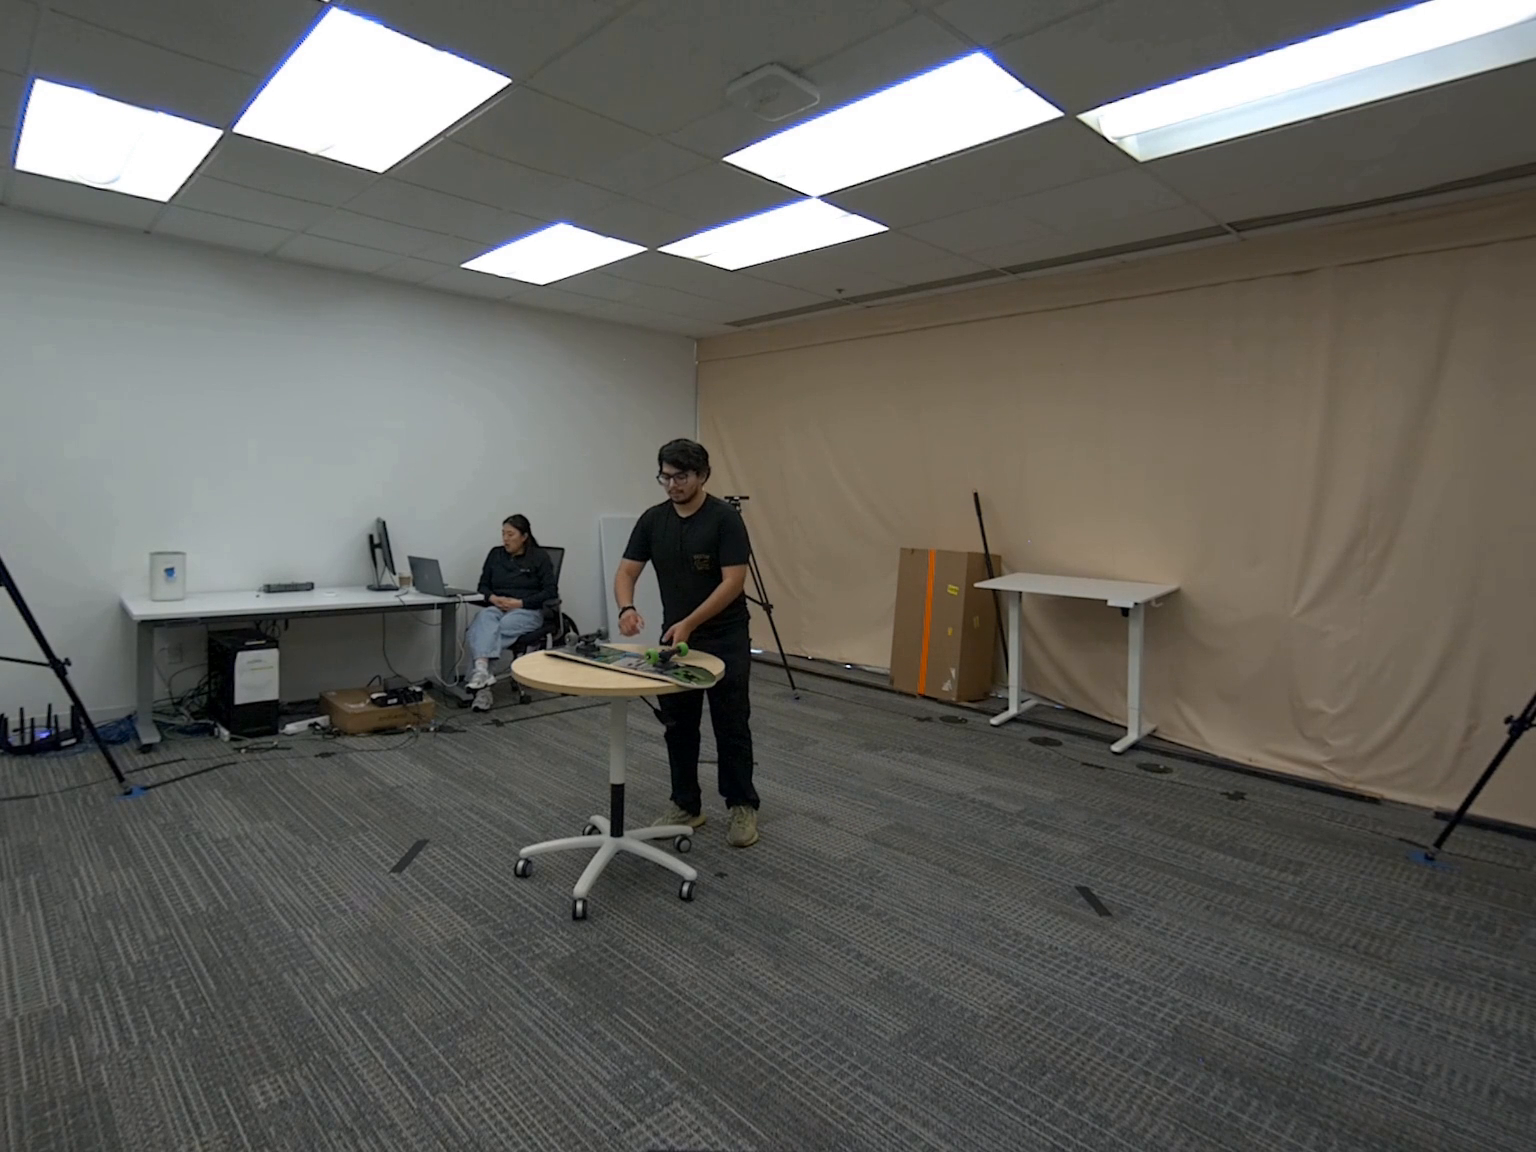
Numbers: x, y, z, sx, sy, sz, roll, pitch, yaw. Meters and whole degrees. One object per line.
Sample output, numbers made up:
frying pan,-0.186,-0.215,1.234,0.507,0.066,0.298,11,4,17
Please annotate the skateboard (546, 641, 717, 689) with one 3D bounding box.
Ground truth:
skateboard,-0.524,0.276,3.011,0.806,0.110,0.189,7,5,39
